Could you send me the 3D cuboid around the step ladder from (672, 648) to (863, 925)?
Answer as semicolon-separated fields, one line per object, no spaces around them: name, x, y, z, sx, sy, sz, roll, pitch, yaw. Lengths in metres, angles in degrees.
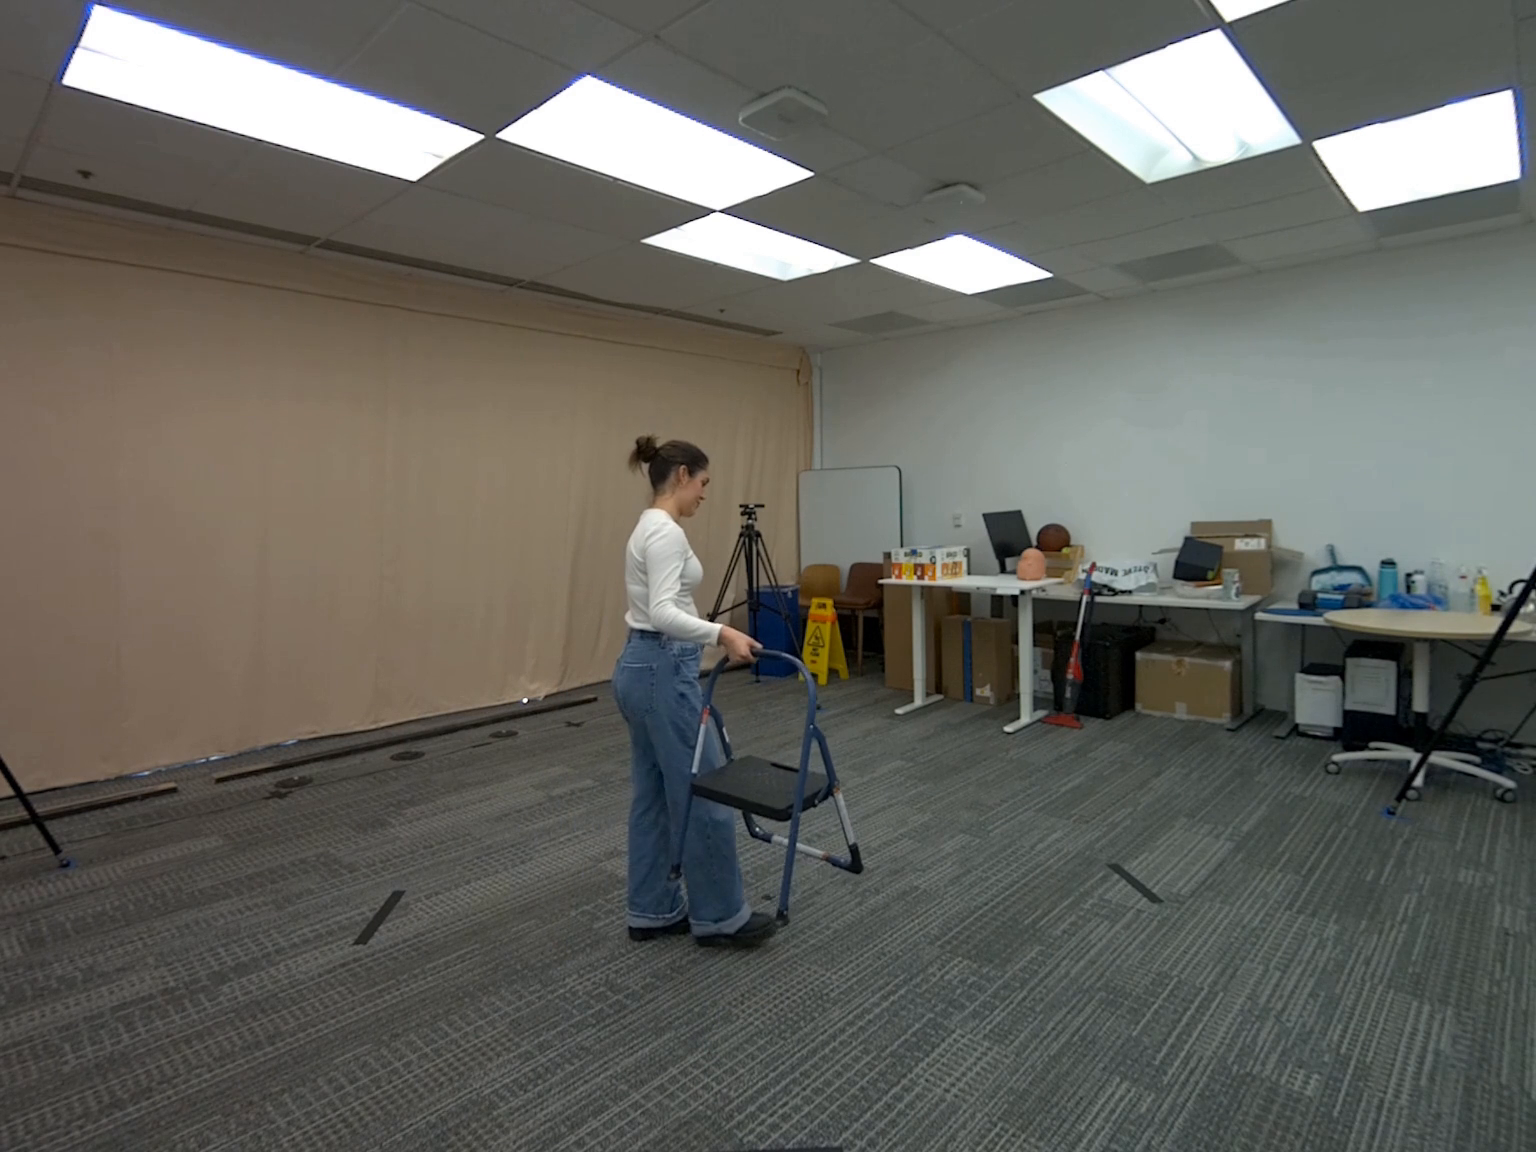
step ladder;-0.026;0.531;2.250;0.445;0.603;0.339;1;9;44
